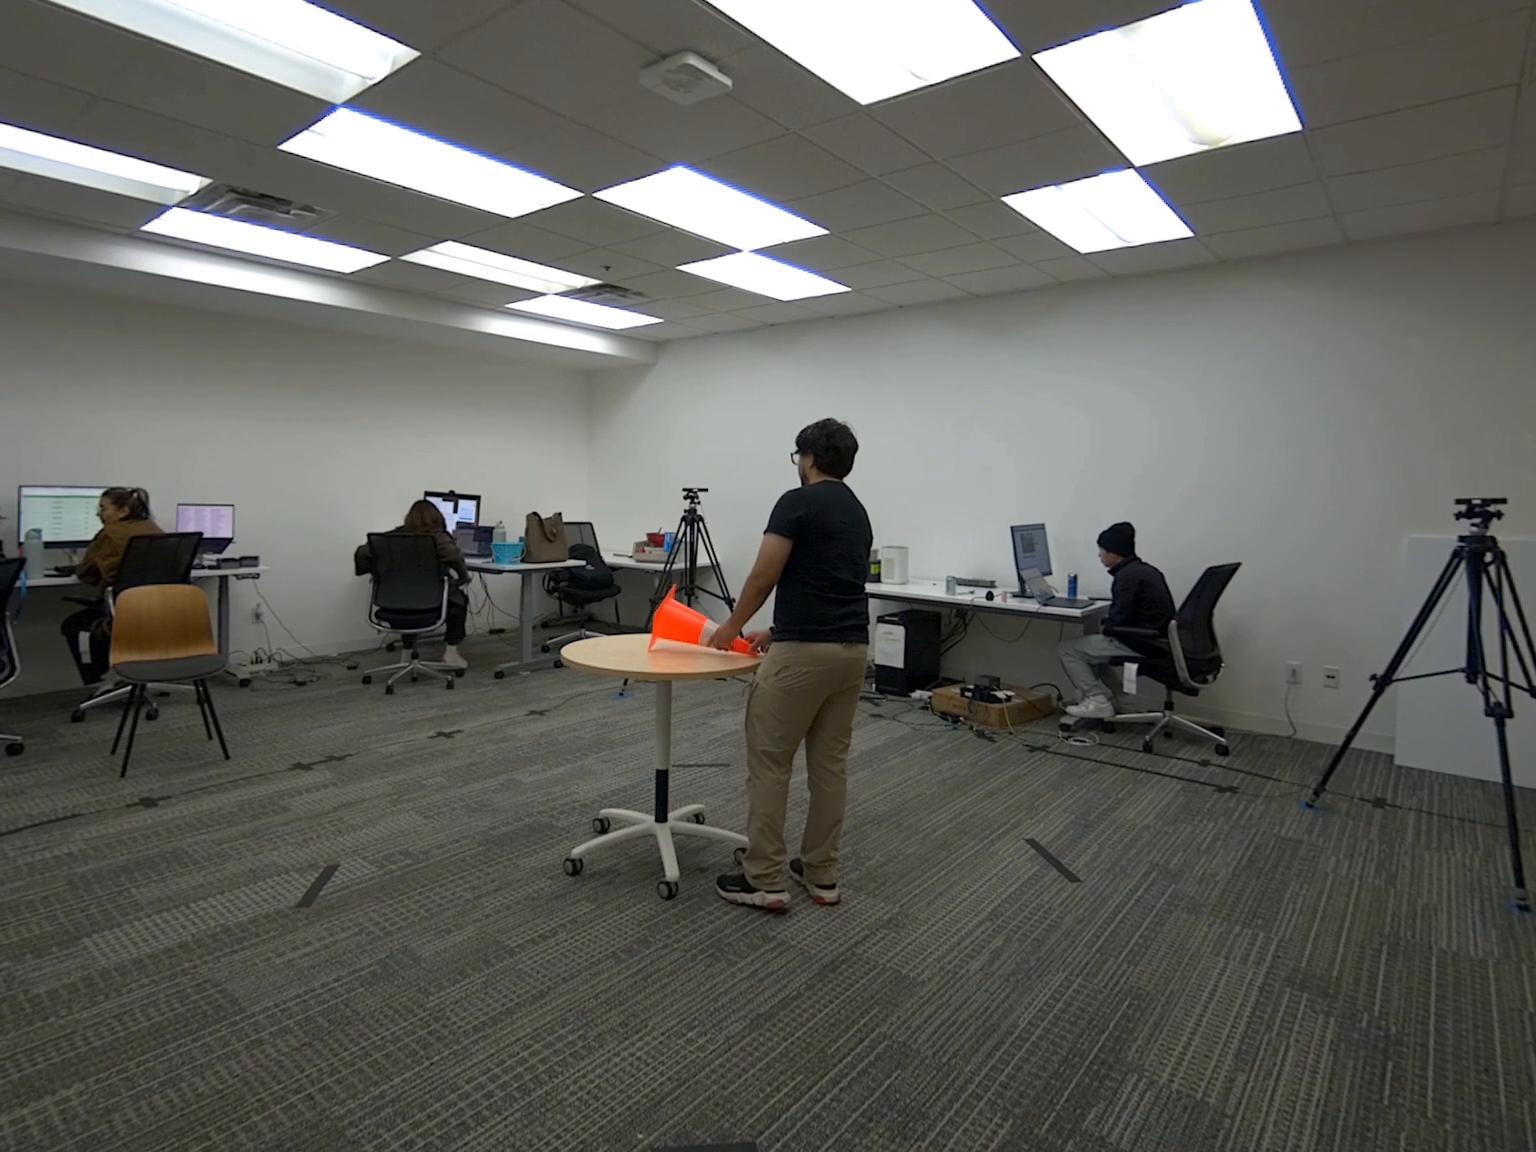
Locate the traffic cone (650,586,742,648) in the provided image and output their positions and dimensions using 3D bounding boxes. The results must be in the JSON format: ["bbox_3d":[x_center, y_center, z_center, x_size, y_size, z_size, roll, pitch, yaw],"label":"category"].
[{"bbox_3d":[-0.235,0.221,3.140,0.389,0.201,0.204,21,38,11],"label":"traffic cone"}]
